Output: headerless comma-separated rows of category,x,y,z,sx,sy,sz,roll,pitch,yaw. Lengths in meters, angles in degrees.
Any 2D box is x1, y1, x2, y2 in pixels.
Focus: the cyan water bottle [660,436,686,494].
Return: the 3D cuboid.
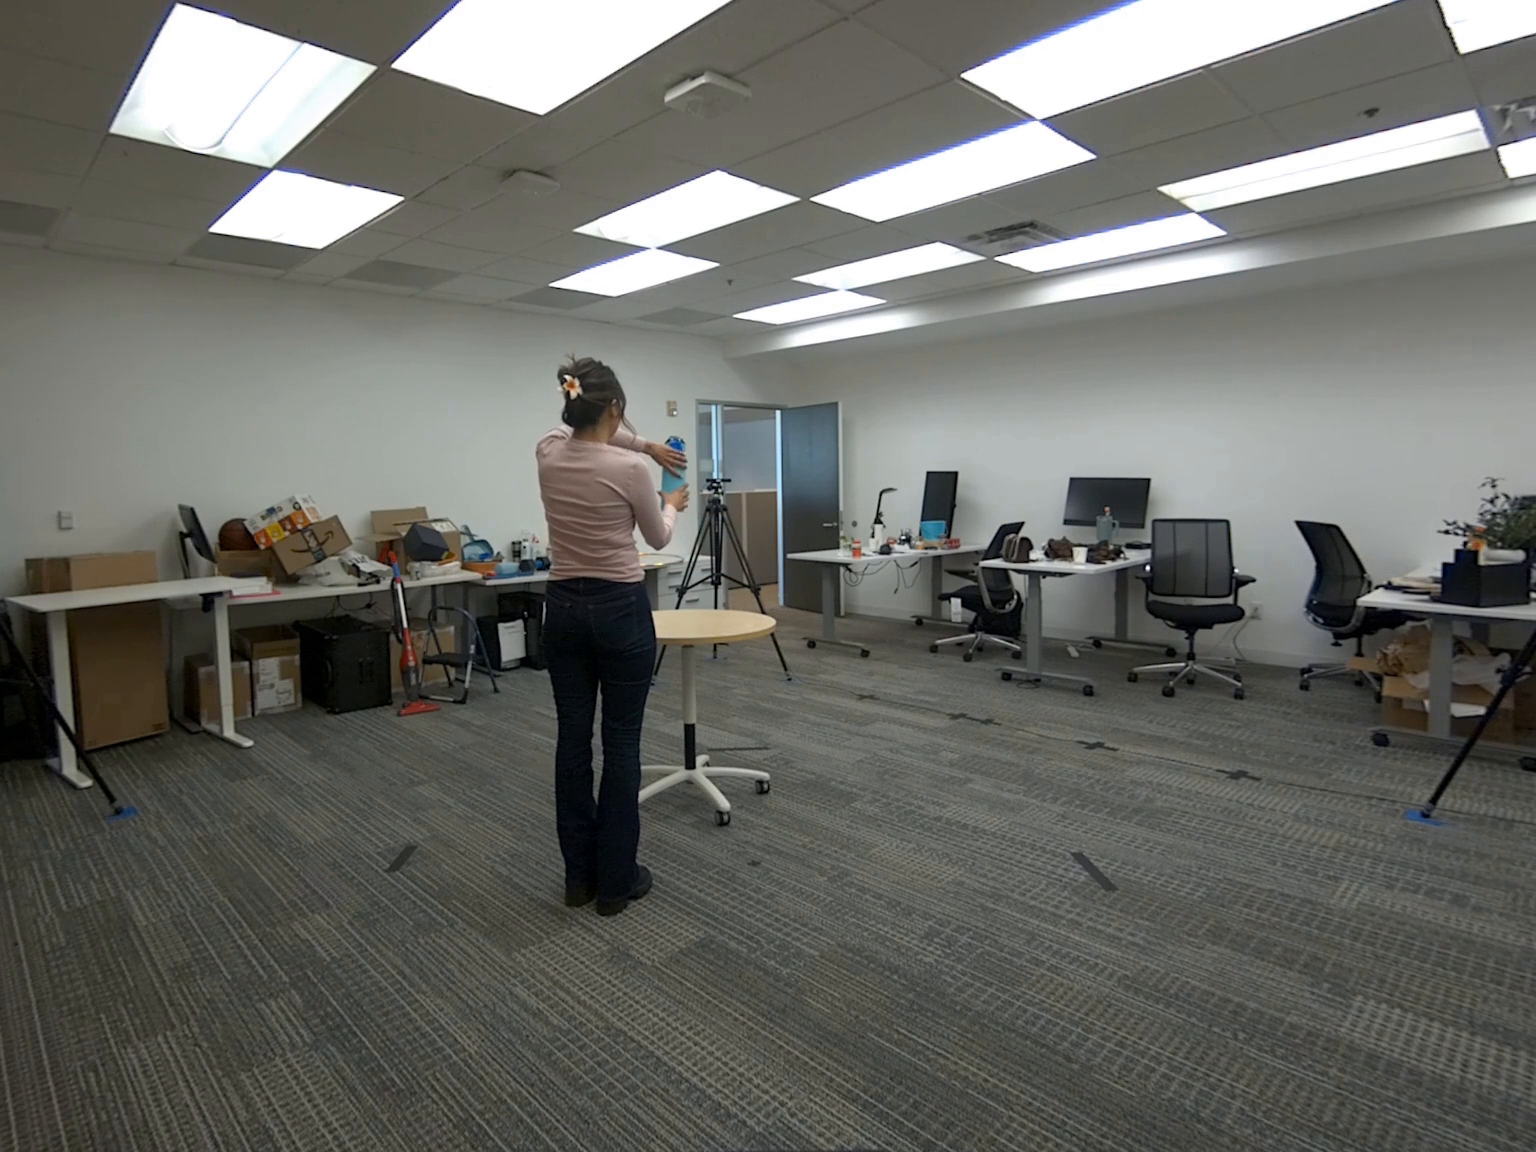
cyan water bottle,-0.357,-0.383,3.218,0.092,0.283,0.092,4,2,-2
